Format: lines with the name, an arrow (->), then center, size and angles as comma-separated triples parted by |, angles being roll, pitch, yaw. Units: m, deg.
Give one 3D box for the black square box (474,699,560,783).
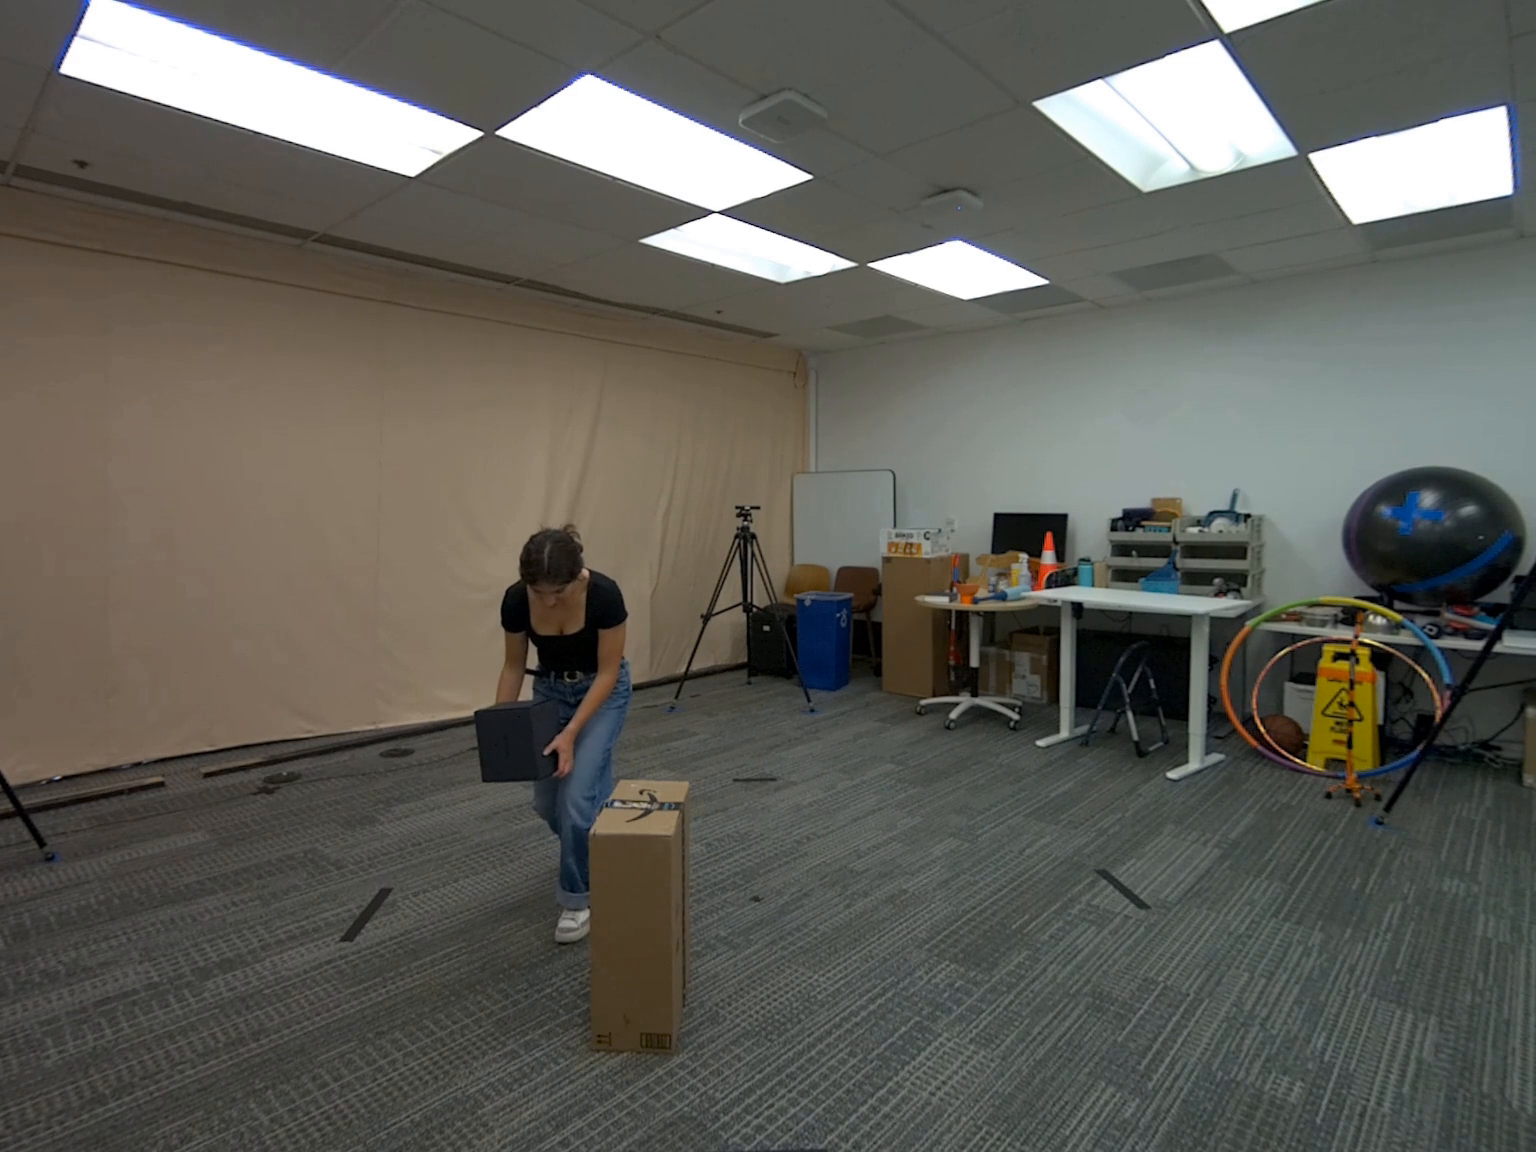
black square box -> -0.789, 0.513, 2.656 | 0.220, 0.228, 0.153 | -7, -1, 14
